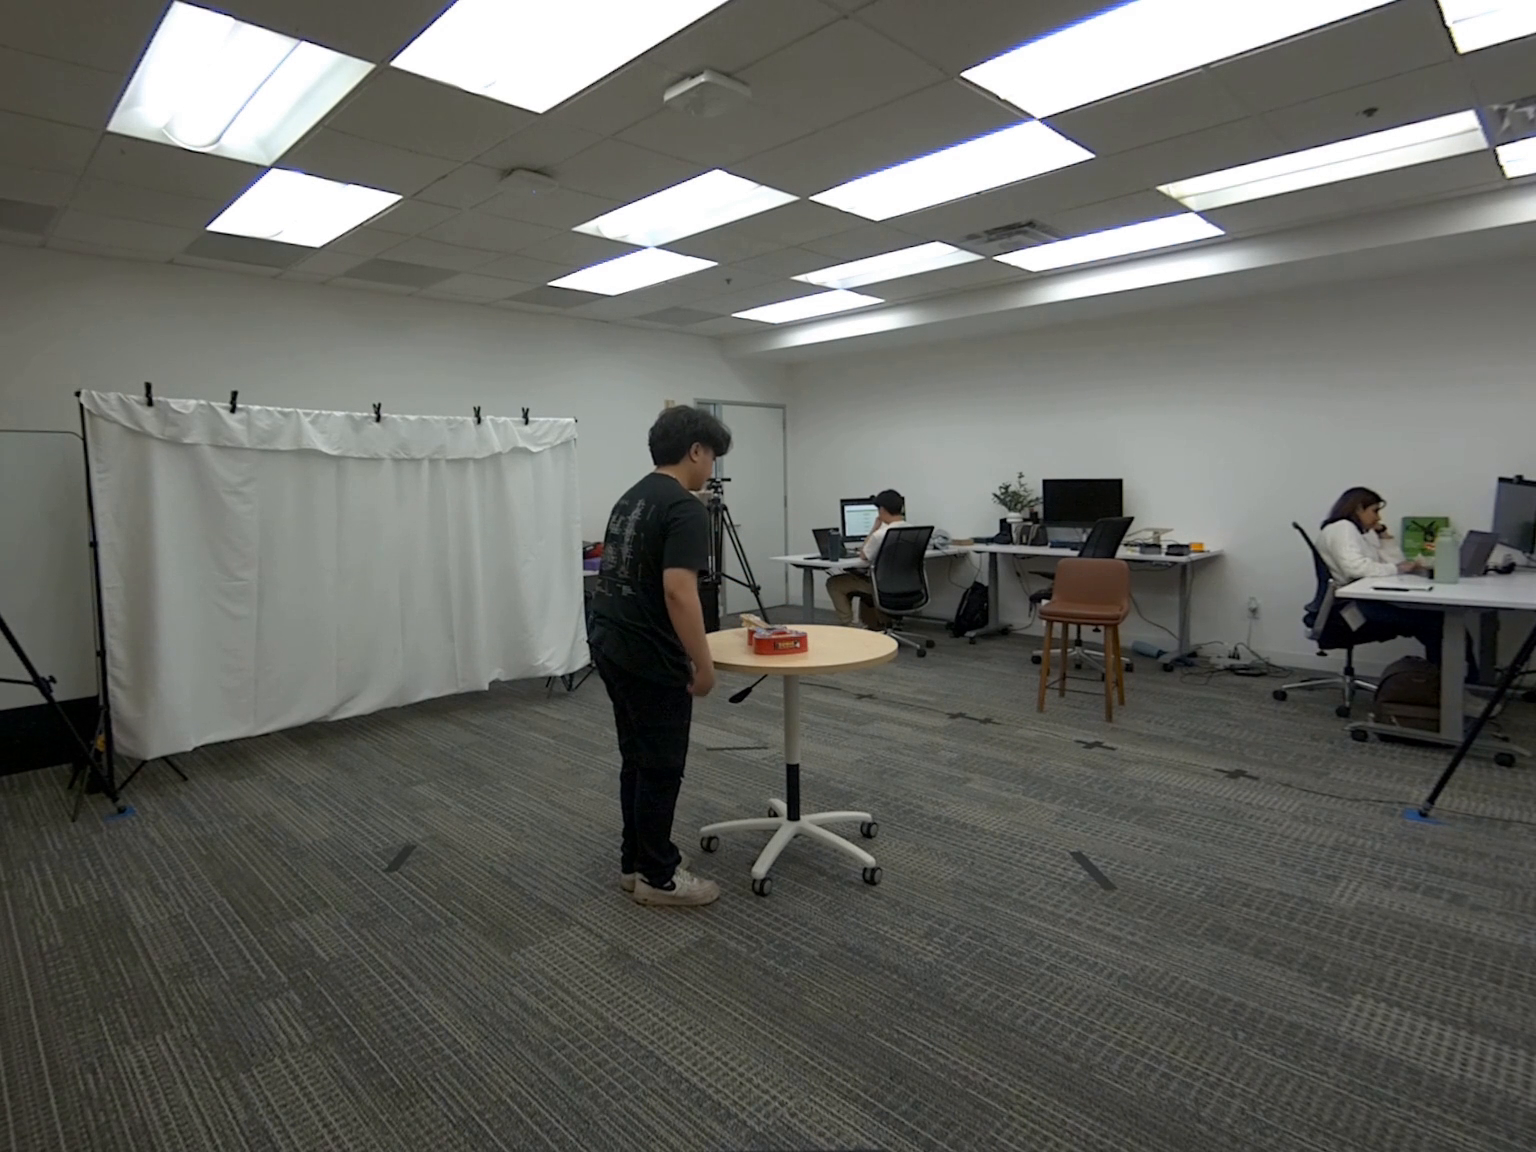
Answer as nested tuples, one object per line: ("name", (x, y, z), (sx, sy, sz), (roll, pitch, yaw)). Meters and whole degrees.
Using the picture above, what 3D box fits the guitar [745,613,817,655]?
("guitar", (0.035, 0.206, 3.142), (0.192, 0.070, 0.502), (1, 5, -6))
